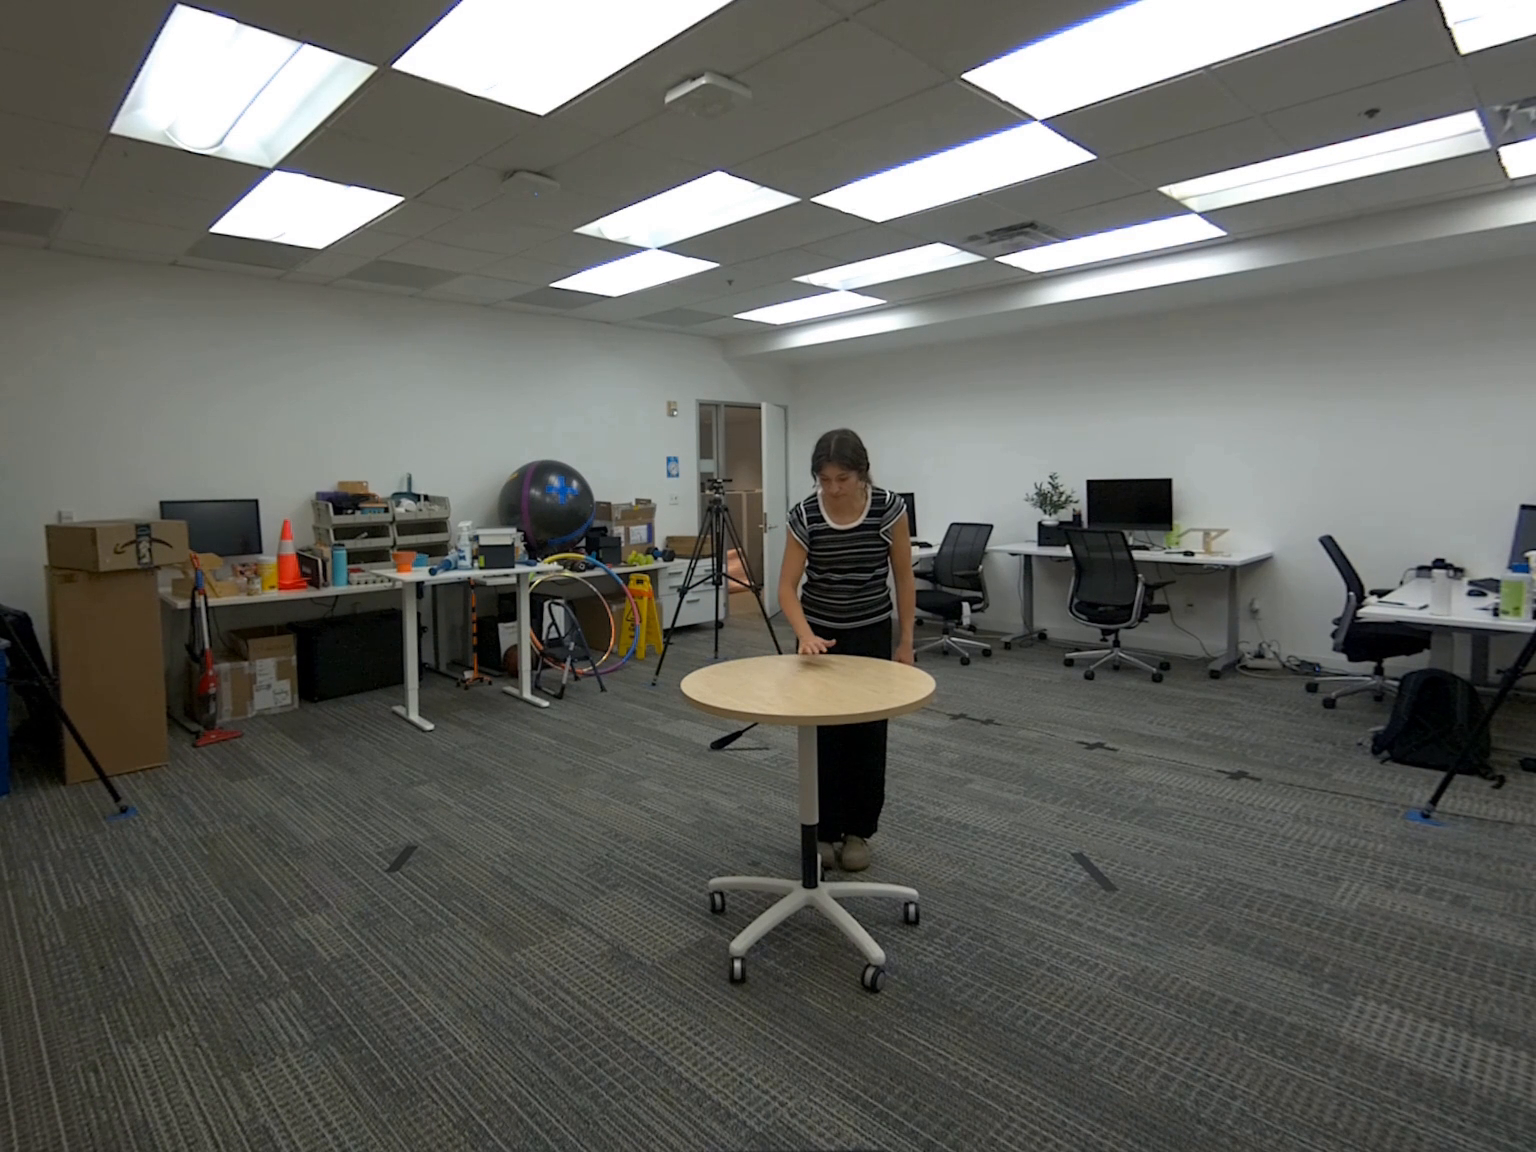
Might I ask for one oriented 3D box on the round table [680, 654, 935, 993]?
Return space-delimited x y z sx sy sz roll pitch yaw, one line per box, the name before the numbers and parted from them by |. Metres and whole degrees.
round table | 0.127 0.711 2.615 0.763 0.791 0.768 -2 5 -2
